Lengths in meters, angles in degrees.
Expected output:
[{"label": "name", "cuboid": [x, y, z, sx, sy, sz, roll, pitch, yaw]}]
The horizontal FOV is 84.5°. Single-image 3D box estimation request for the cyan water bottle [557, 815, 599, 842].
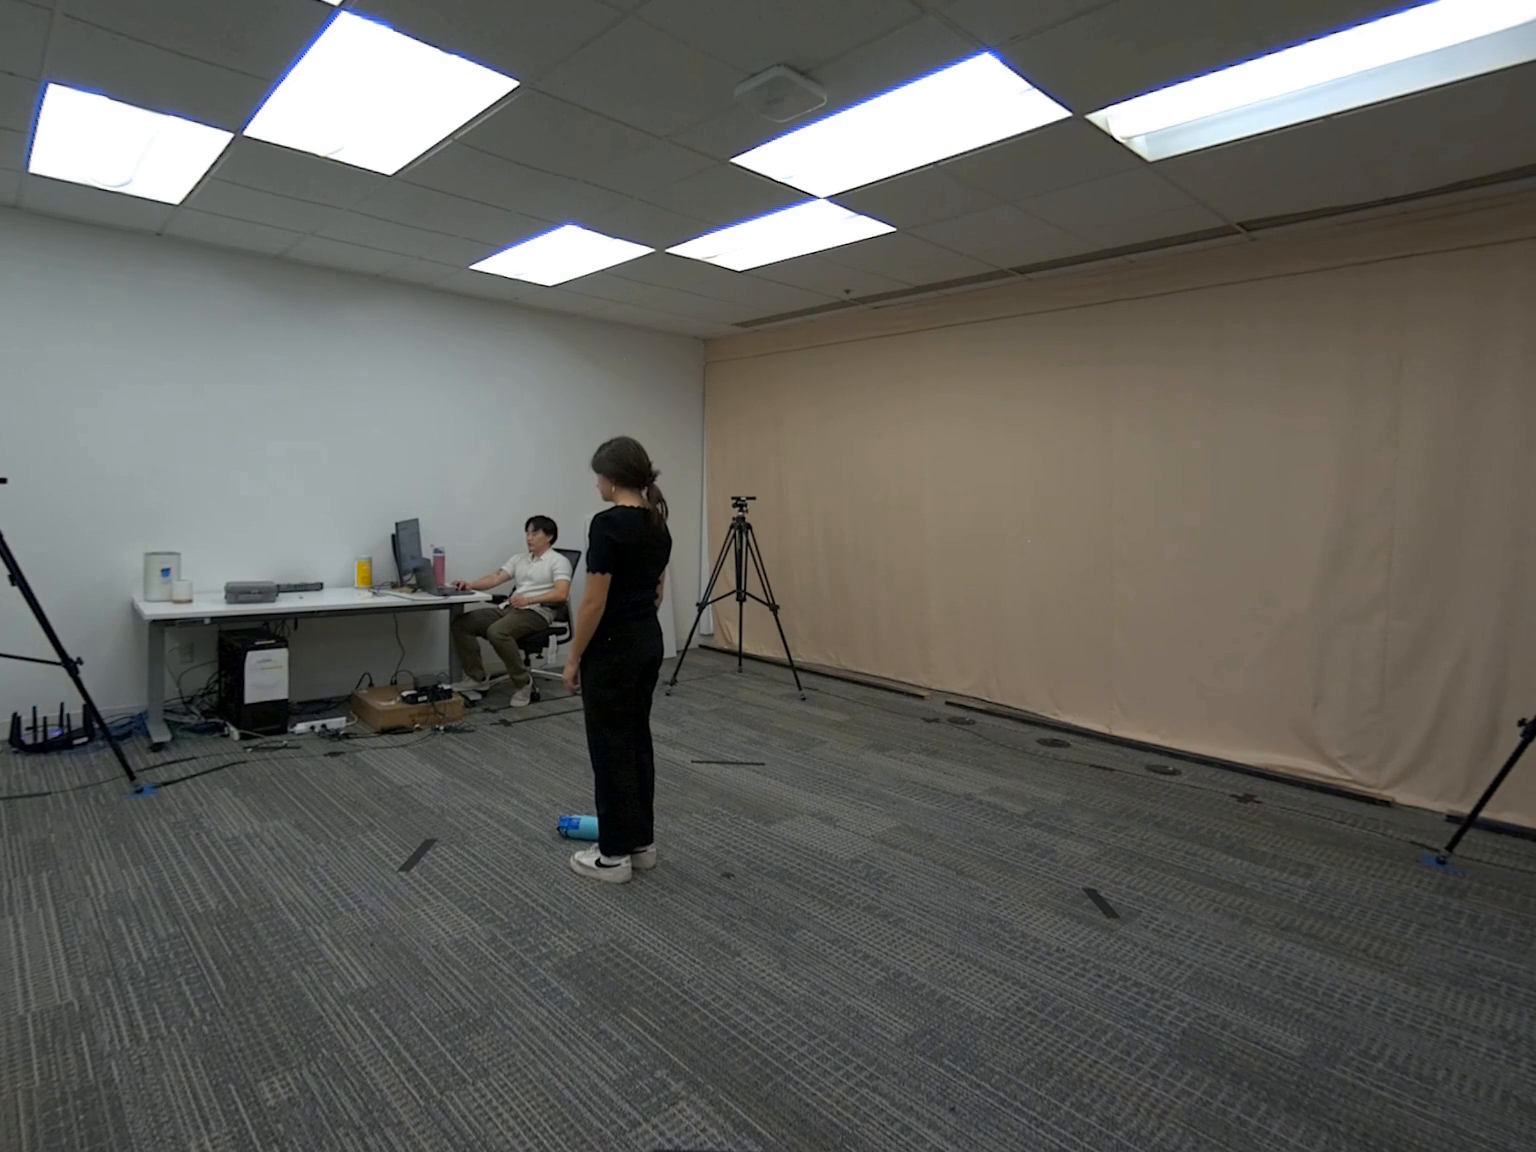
[{"label": "cyan water bottle", "cuboid": [-0.731, 1.021, 3.408, 0.286, 0.092, 0.092, 4, 4, 11]}]
